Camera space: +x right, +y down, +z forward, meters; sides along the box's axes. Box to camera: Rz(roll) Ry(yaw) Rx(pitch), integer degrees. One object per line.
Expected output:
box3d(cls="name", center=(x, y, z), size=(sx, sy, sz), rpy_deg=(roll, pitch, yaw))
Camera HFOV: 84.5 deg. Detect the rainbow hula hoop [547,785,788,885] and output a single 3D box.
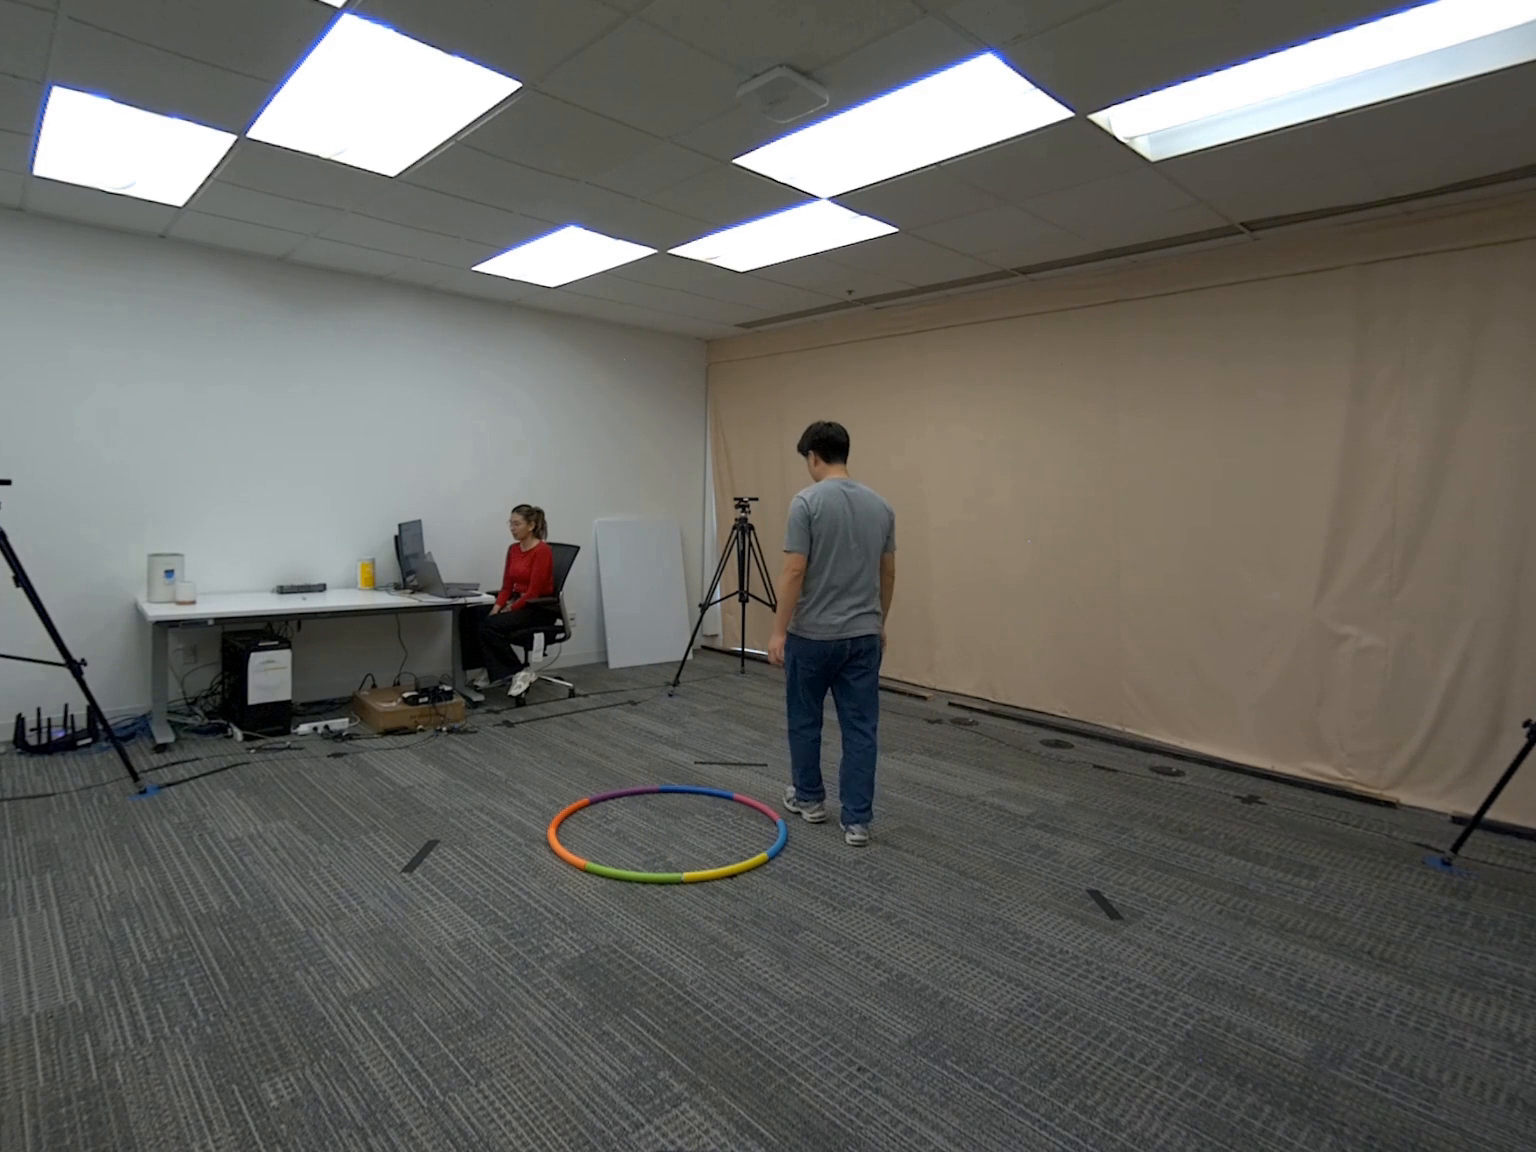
box3d(cls="rainbow hula hoop", center=(-0.425, 1.036, 3.509), size=(0.978, 0.035, 0.982), rpy_deg=(2, 5, -1))
